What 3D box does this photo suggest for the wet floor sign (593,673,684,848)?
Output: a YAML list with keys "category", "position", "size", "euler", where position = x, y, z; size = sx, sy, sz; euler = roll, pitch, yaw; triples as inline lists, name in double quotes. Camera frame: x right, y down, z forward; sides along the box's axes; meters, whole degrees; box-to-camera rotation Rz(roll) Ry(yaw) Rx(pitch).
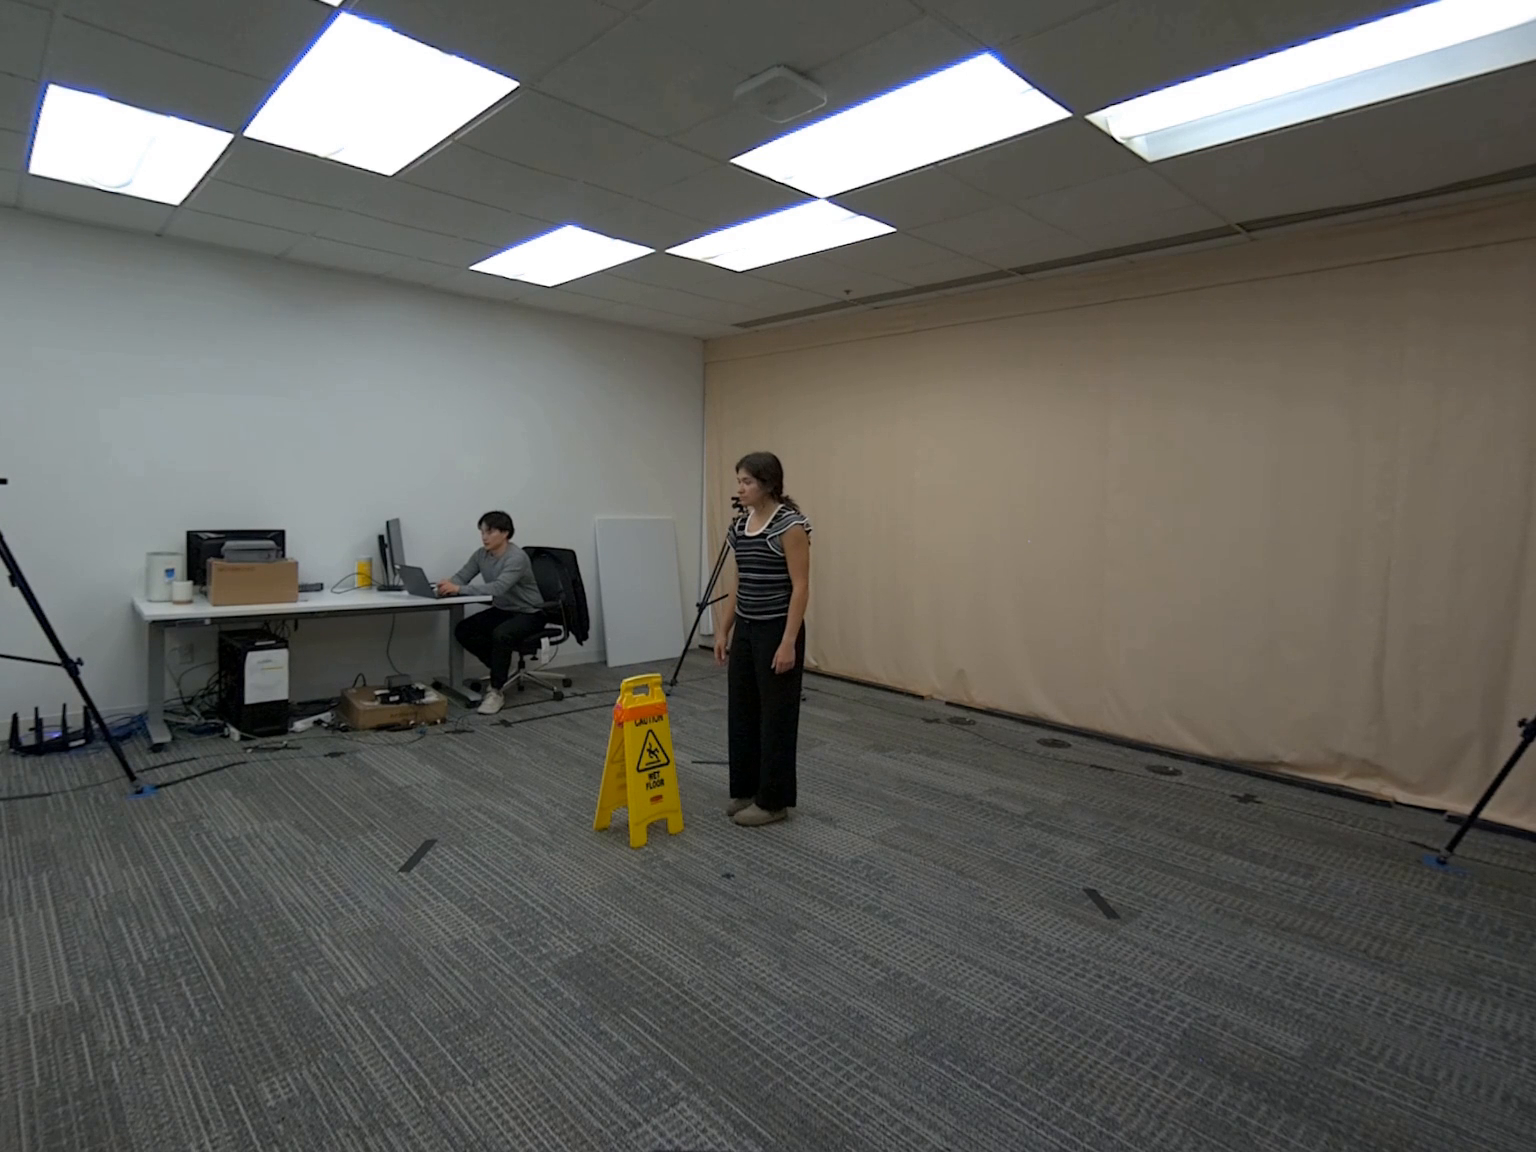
- category: "wet floor sign"
  position: [-0.543, 0.739, 3.495]
  size: [0.297, 0.645, 0.276]
  euler: [3, 3, 42]
